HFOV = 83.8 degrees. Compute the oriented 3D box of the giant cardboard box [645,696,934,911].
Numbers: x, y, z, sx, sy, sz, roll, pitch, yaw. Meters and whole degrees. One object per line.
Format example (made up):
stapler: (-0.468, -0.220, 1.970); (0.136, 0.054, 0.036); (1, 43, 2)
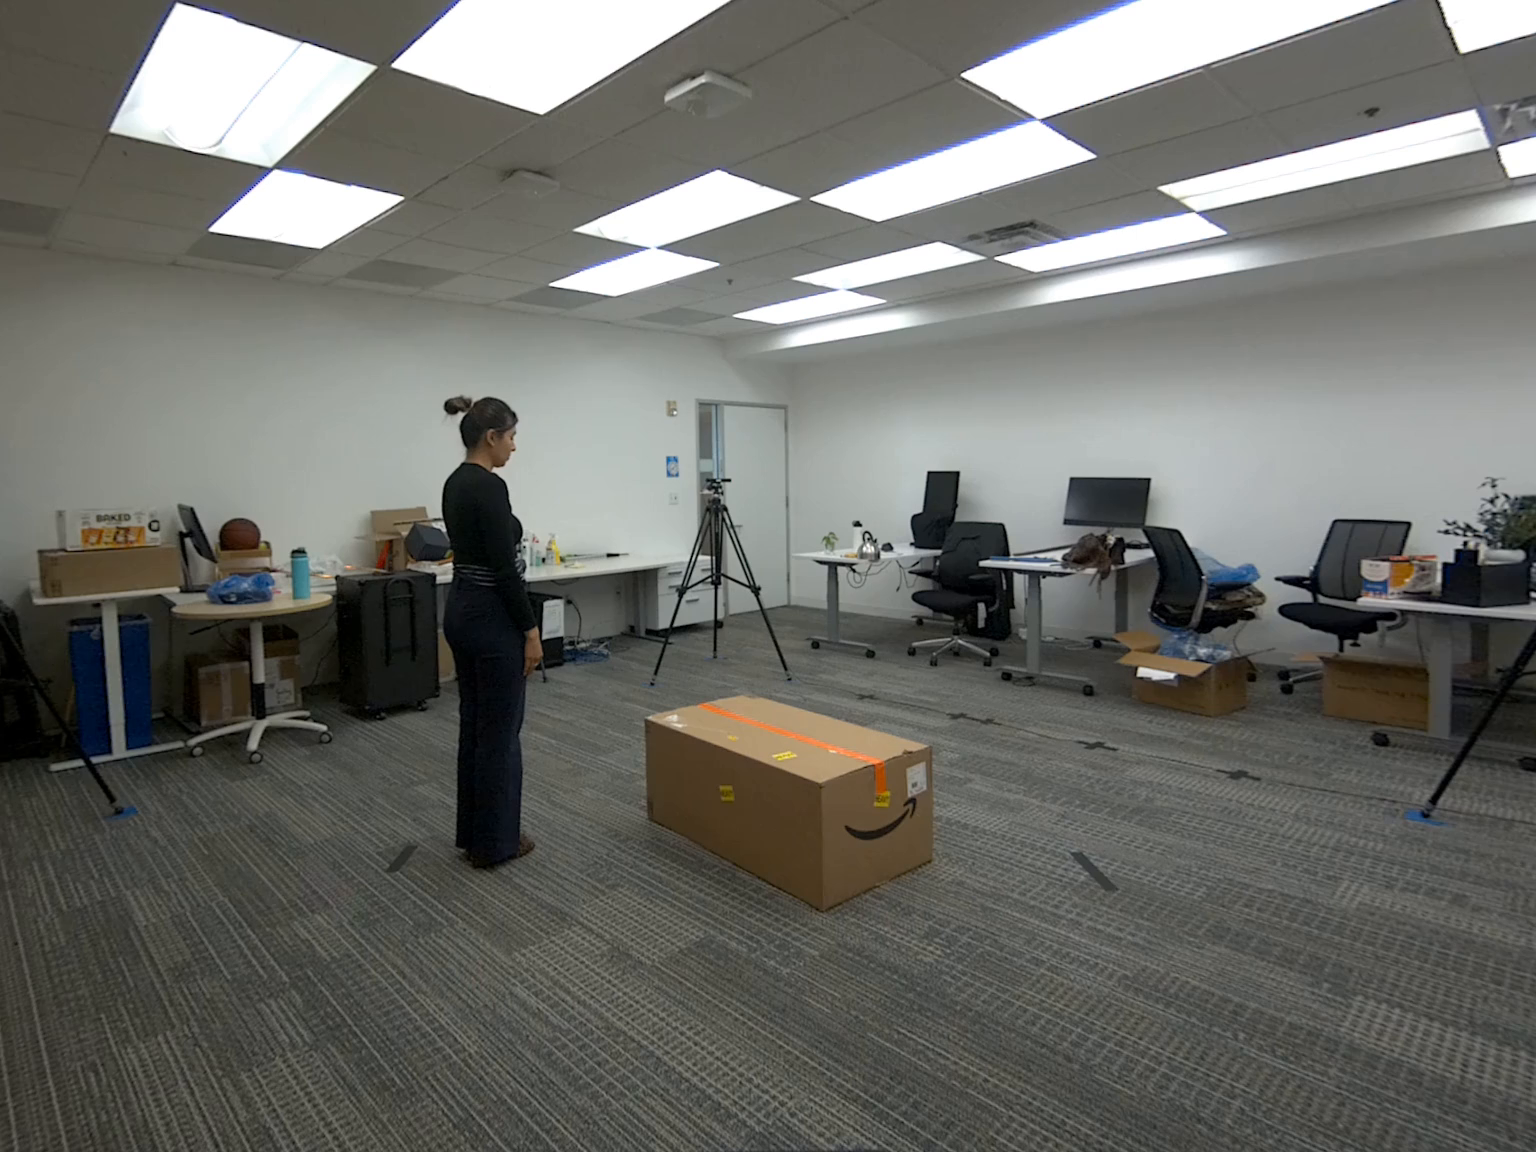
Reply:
giant cardboard box: (0.050, 0.806, 3.308); (0.563, 0.424, 1.057); (-6, 8, -40)
